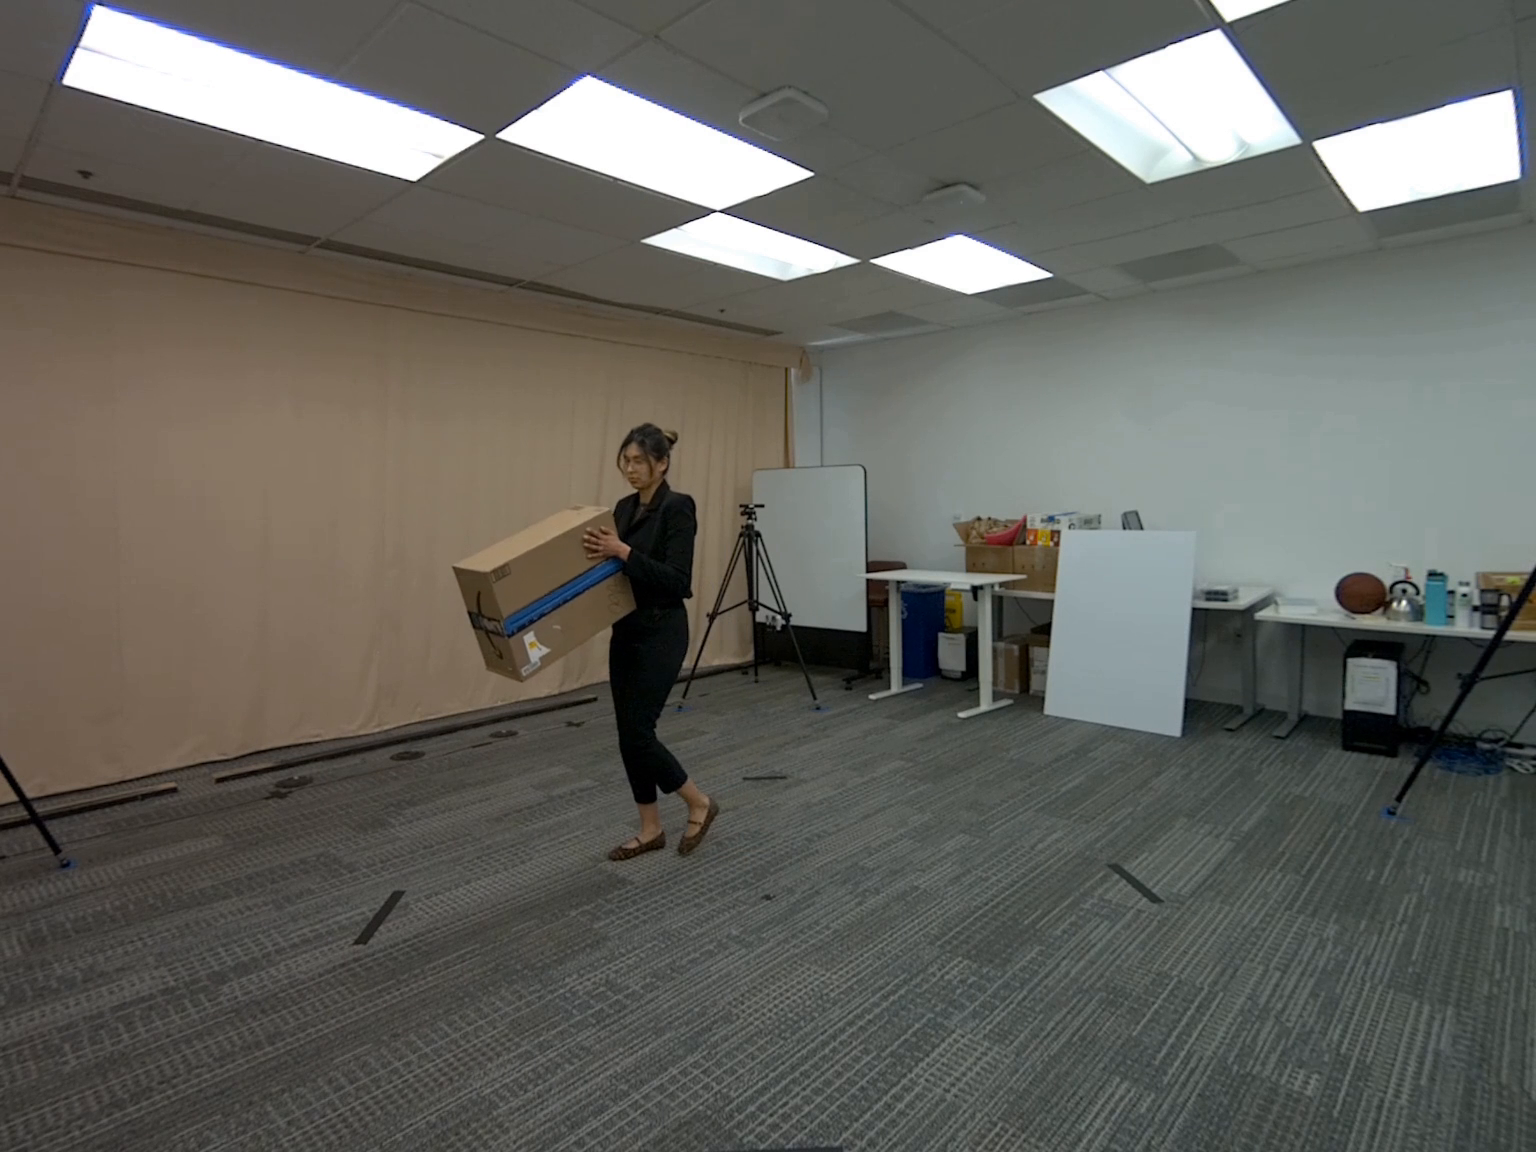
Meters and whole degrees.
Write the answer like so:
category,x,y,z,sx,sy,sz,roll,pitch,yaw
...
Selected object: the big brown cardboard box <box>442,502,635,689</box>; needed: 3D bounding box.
category,x,y,z,sx,sy,sz,roll,pitch,yaw
big brown cardboard box,-0.790,0.047,3.036,0.241,0.410,0.580,7,30,39
